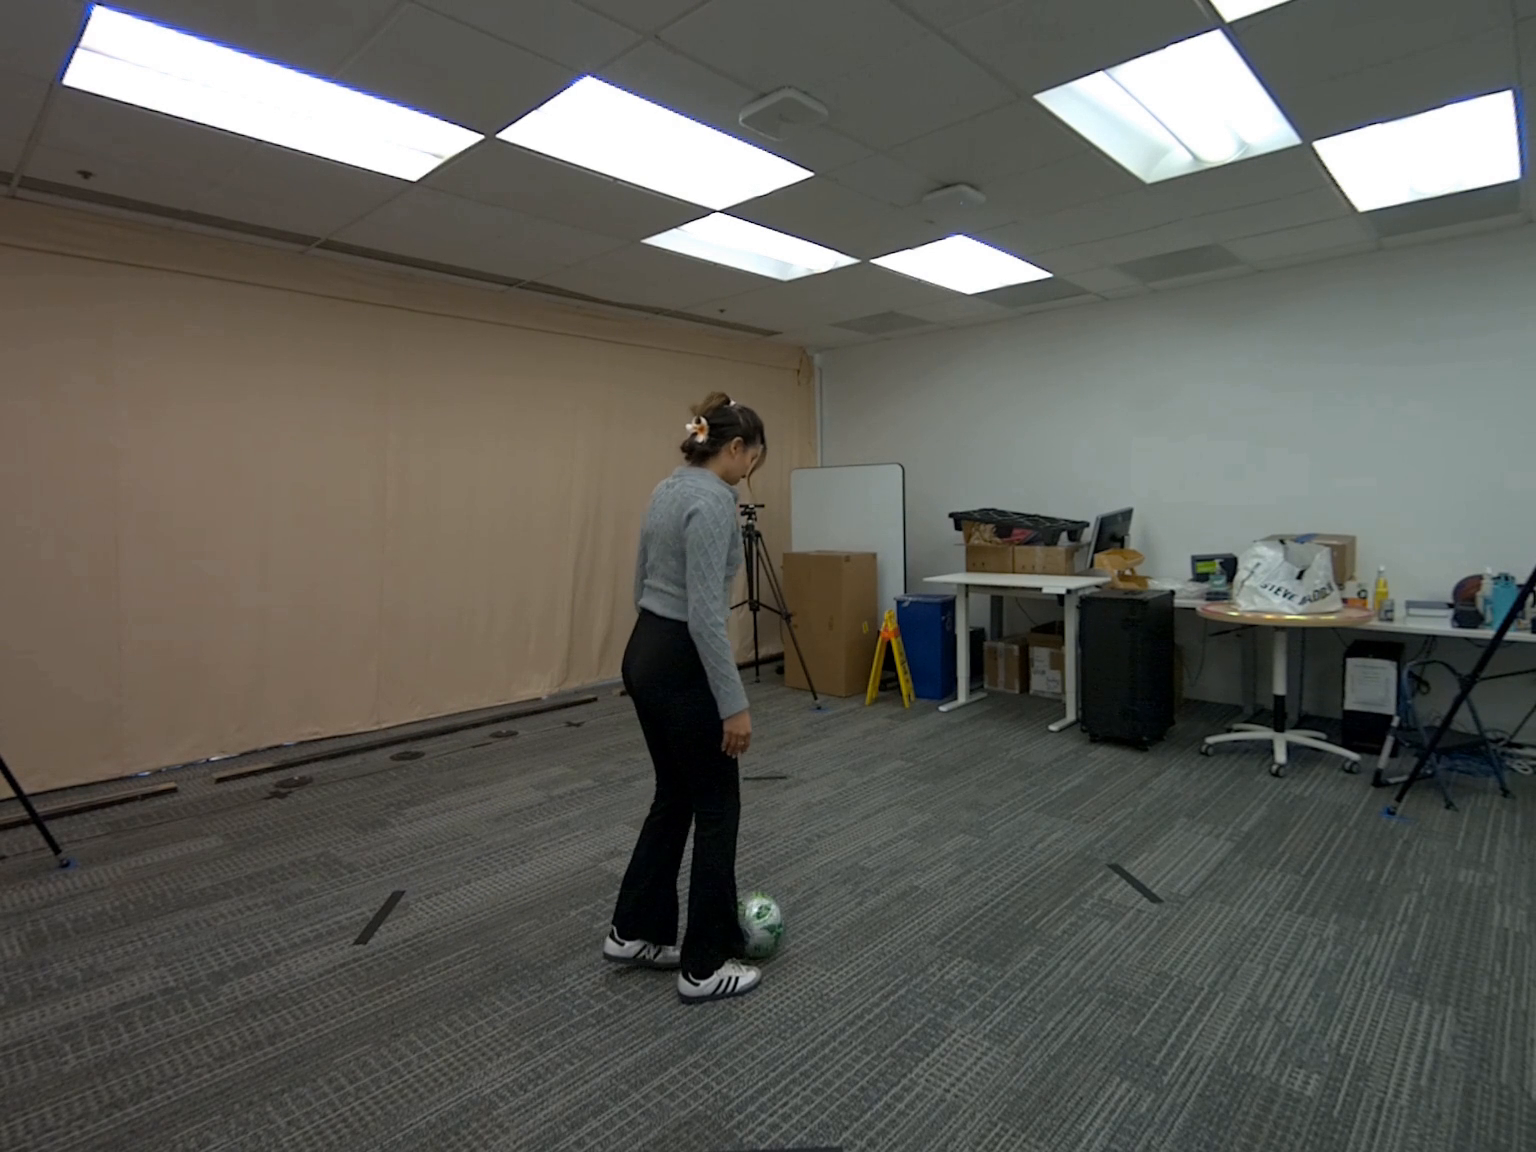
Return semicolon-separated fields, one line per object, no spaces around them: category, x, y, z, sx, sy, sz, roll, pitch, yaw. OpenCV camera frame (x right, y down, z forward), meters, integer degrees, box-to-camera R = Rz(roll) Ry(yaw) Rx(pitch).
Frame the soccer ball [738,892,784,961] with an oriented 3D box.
soccer ball;-0.029;1.081;2.606;0.187;0.187;0.188;-1;4;-2
